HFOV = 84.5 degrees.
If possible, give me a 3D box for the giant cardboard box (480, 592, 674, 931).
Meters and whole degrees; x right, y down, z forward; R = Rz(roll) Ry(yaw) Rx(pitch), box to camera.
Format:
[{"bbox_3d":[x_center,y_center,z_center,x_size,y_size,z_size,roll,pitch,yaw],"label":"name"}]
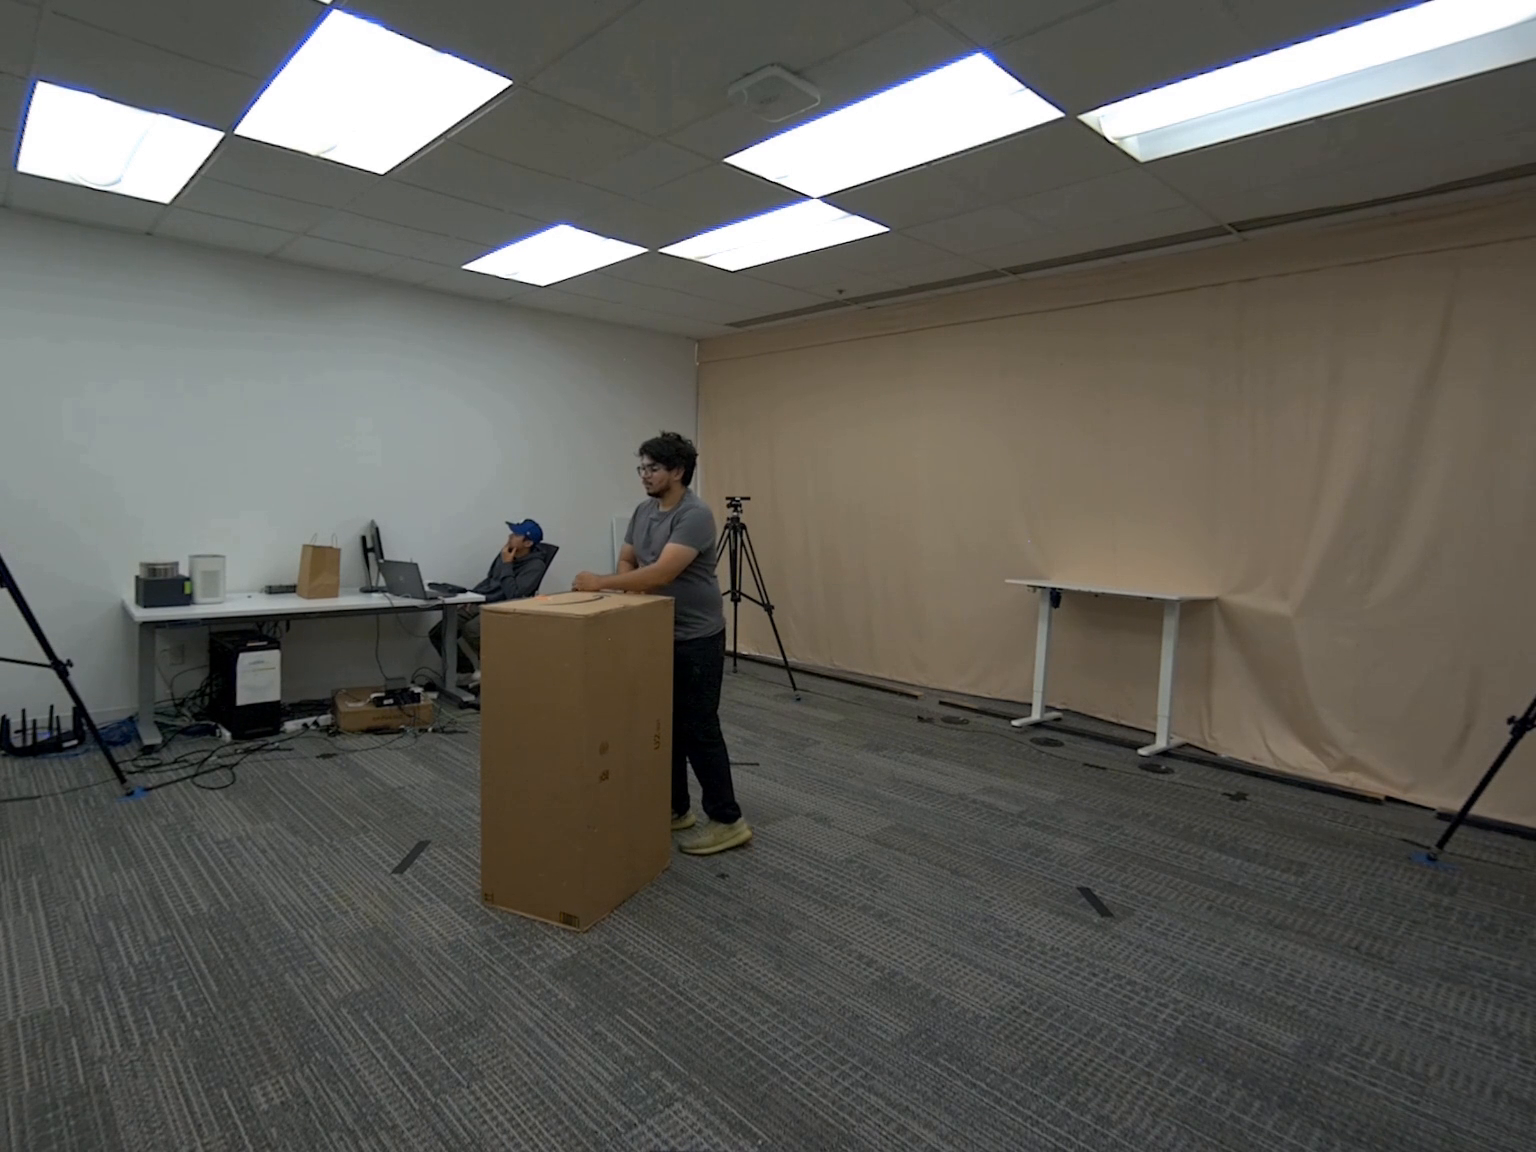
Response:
[{"bbox_3d":[-0.677,0.597,2.984,0.434,1.023,0.568,3,4,25],"label":"giant cardboard box"}]
